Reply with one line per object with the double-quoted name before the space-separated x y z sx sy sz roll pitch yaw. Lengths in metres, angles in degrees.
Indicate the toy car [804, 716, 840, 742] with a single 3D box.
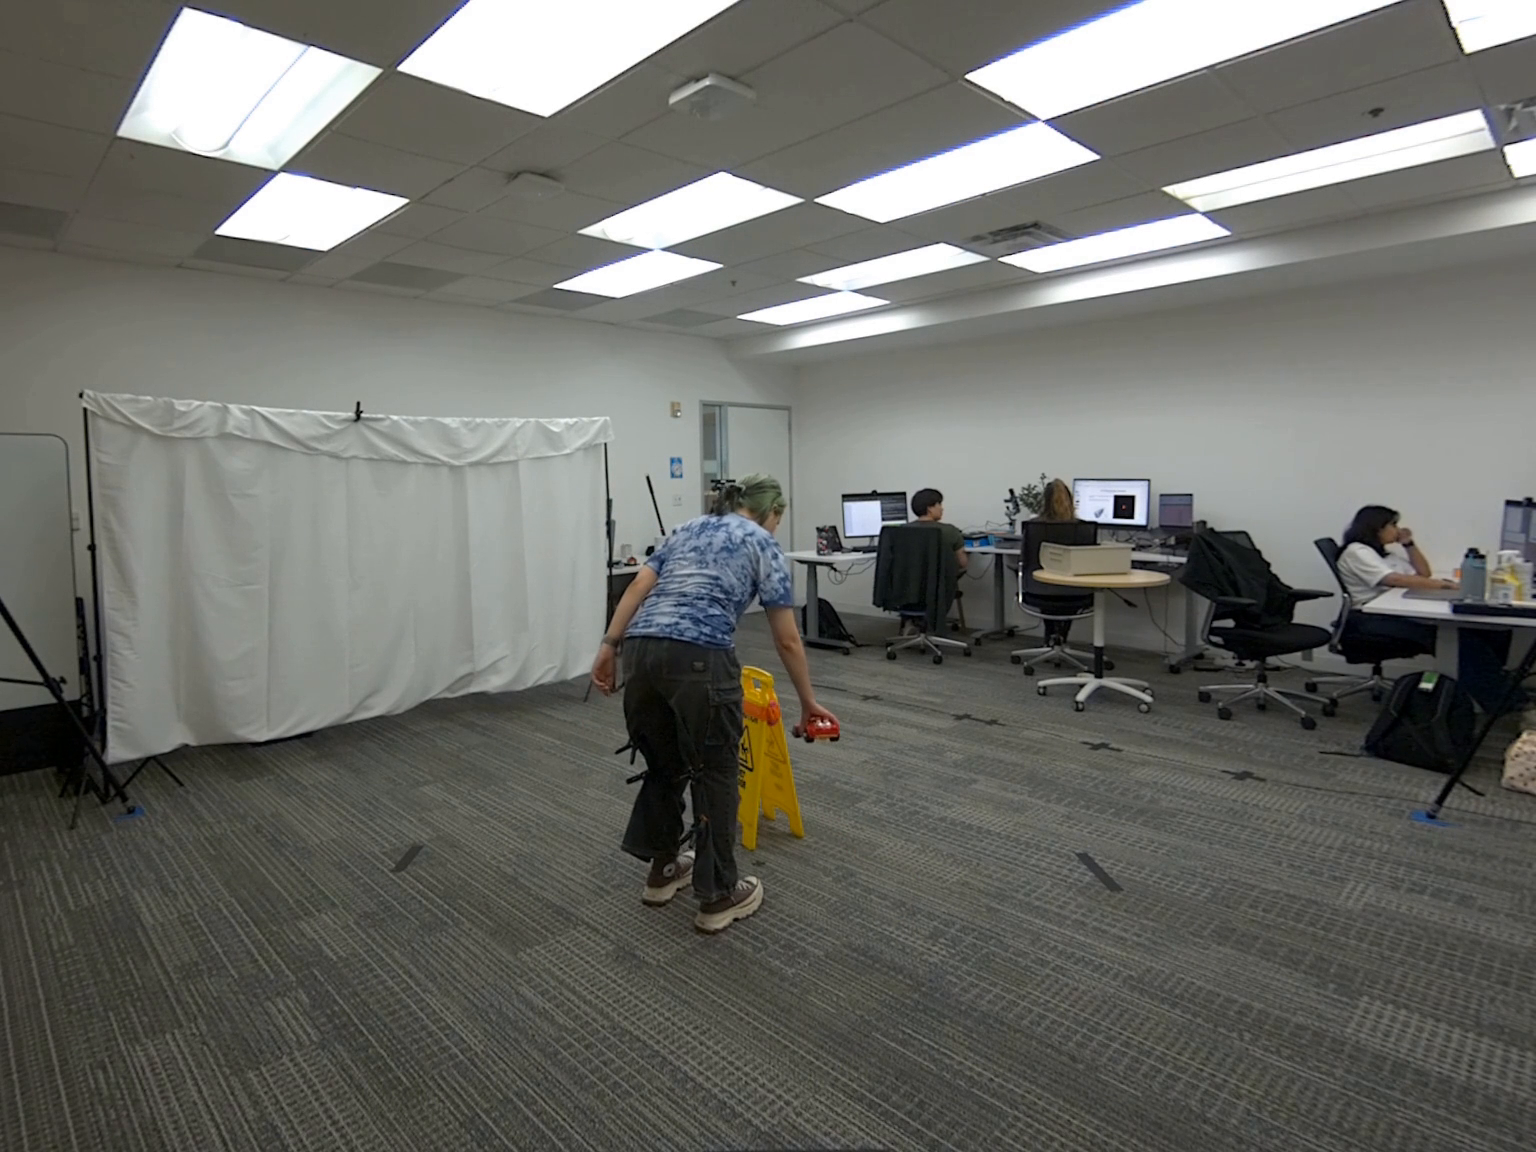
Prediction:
"toy car" 0.175 0.547 2.940 0.129 0.084 0.254 0 -14 -14
